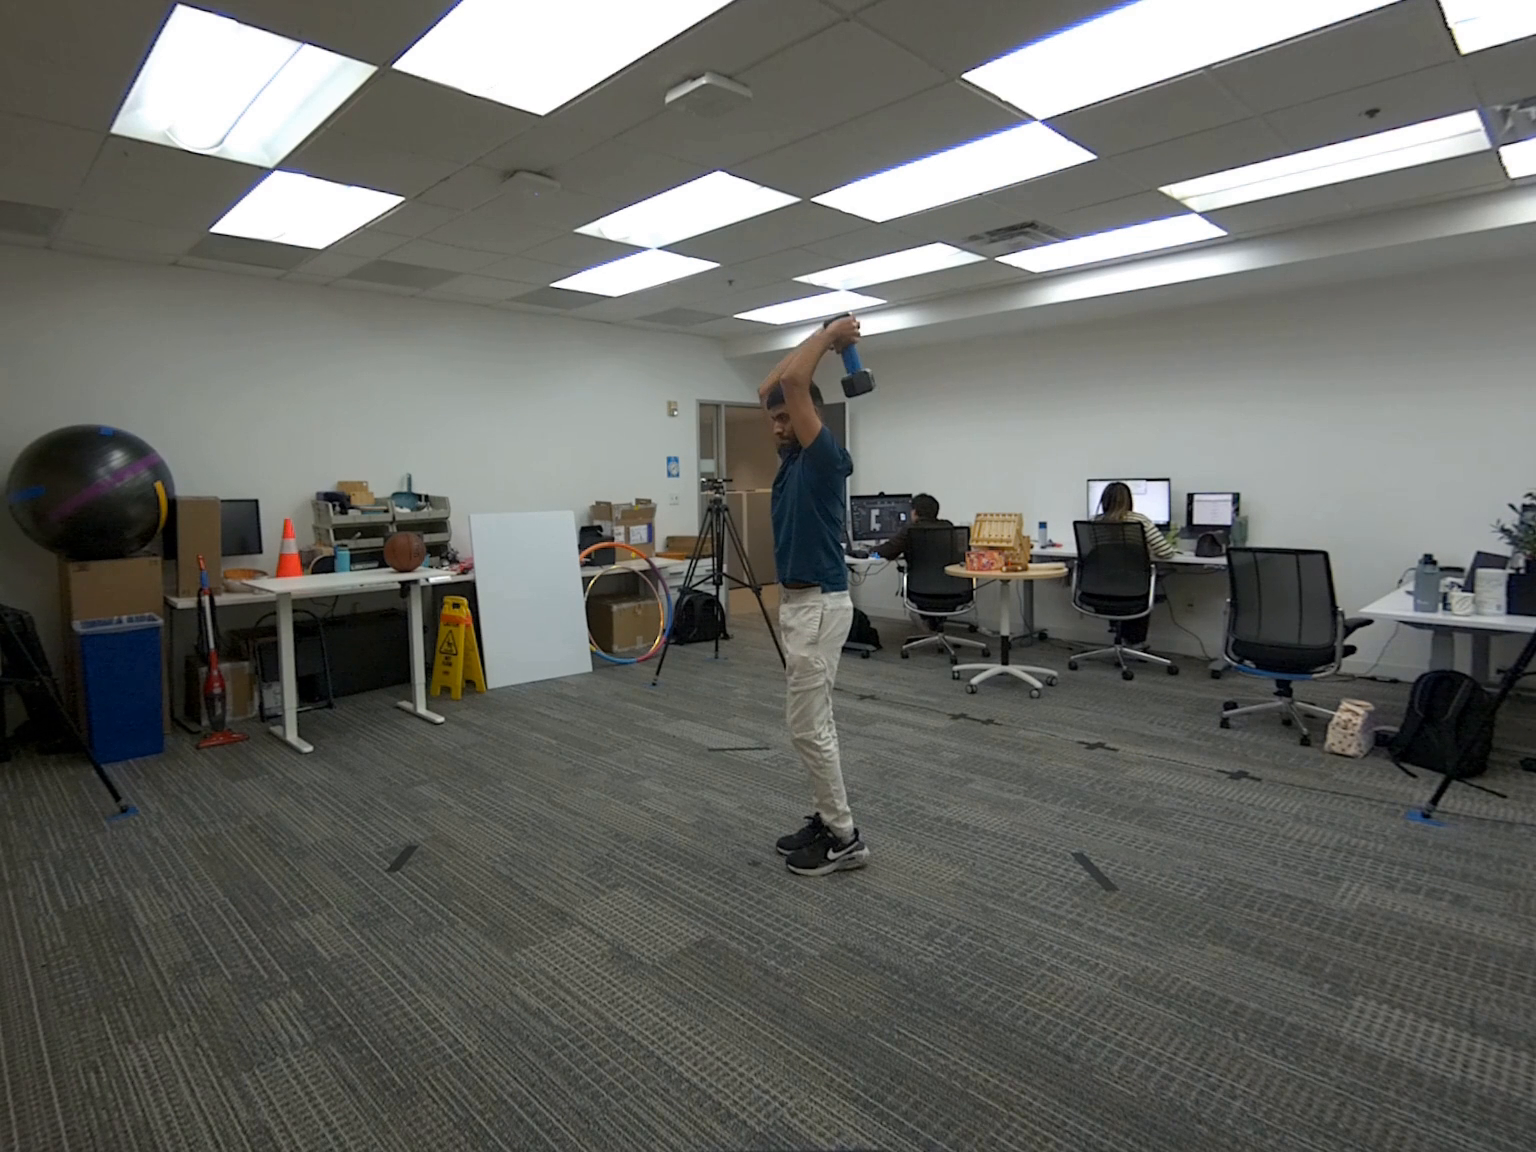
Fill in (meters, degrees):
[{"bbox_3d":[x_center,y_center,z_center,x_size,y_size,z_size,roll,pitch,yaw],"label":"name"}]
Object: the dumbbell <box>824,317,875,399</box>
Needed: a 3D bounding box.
[{"bbox_3d":[0.304,-0.794,3.094,0.122,0.290,0.111,-18,9,-12],"label":"dumbbell"}]
